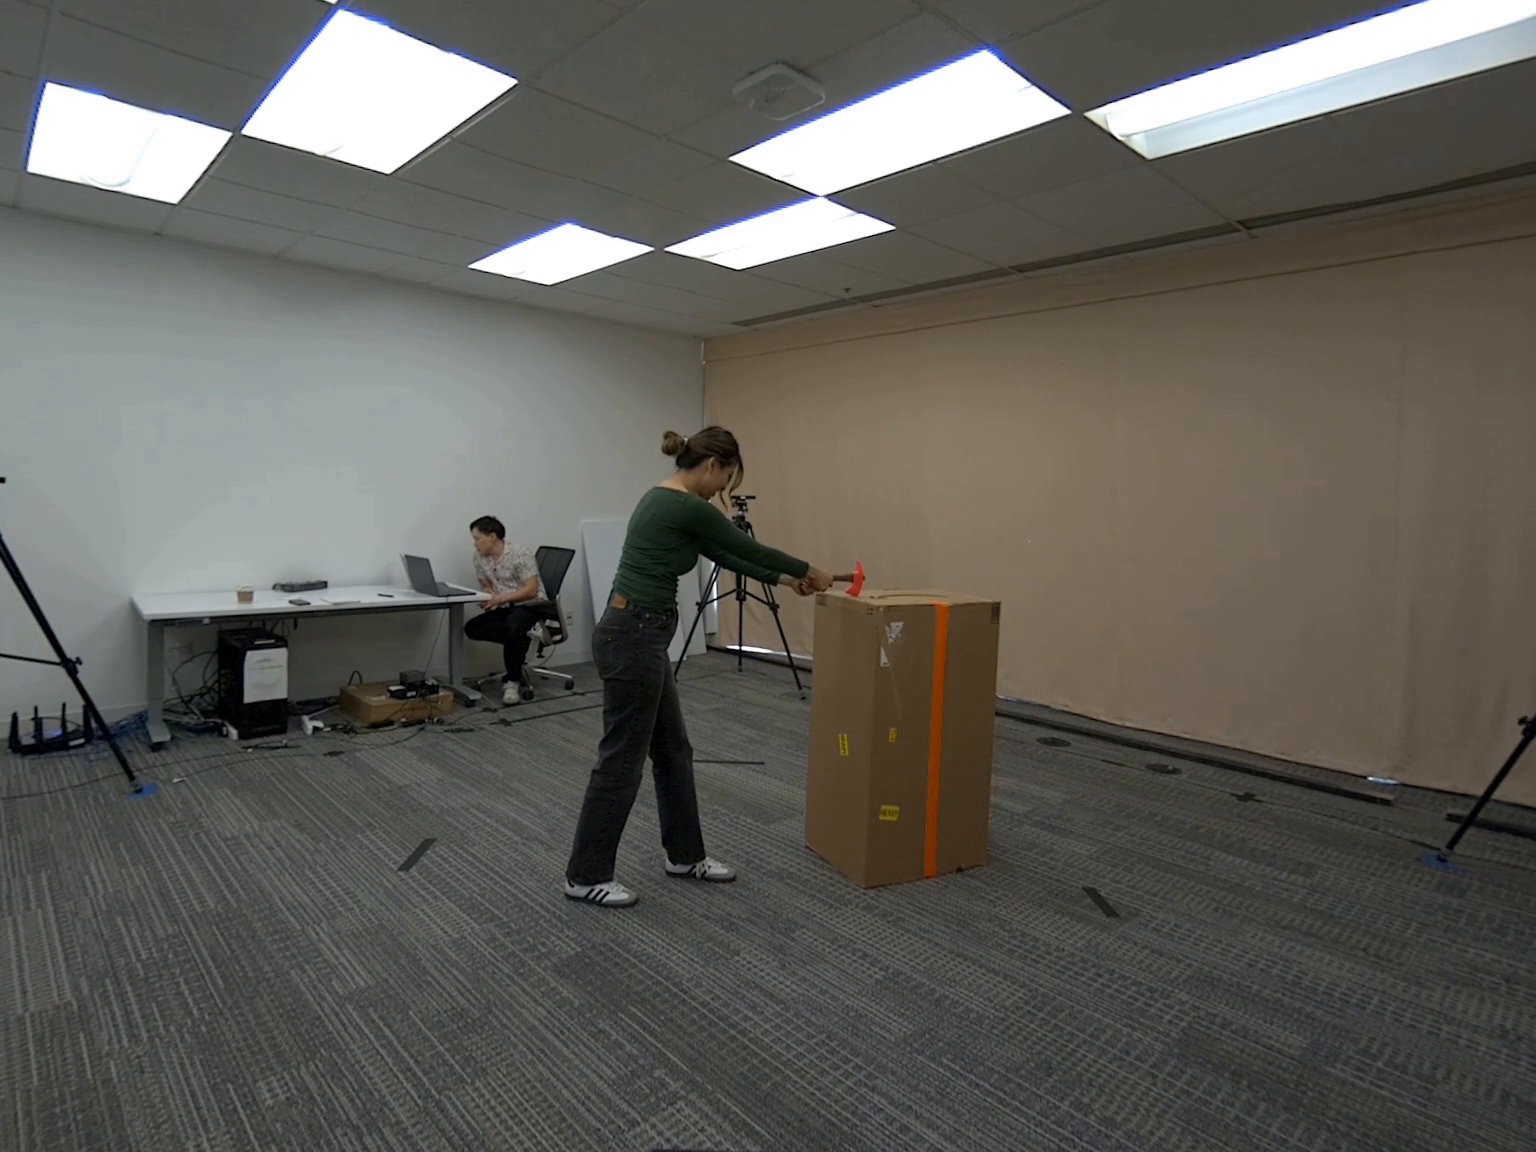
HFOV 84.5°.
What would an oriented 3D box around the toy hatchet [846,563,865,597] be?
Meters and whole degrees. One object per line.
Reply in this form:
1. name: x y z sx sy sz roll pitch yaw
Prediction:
1. toy hatchet: 0.255 0.038 3.159 0.268 0.129 0.030 -17 14 -14
